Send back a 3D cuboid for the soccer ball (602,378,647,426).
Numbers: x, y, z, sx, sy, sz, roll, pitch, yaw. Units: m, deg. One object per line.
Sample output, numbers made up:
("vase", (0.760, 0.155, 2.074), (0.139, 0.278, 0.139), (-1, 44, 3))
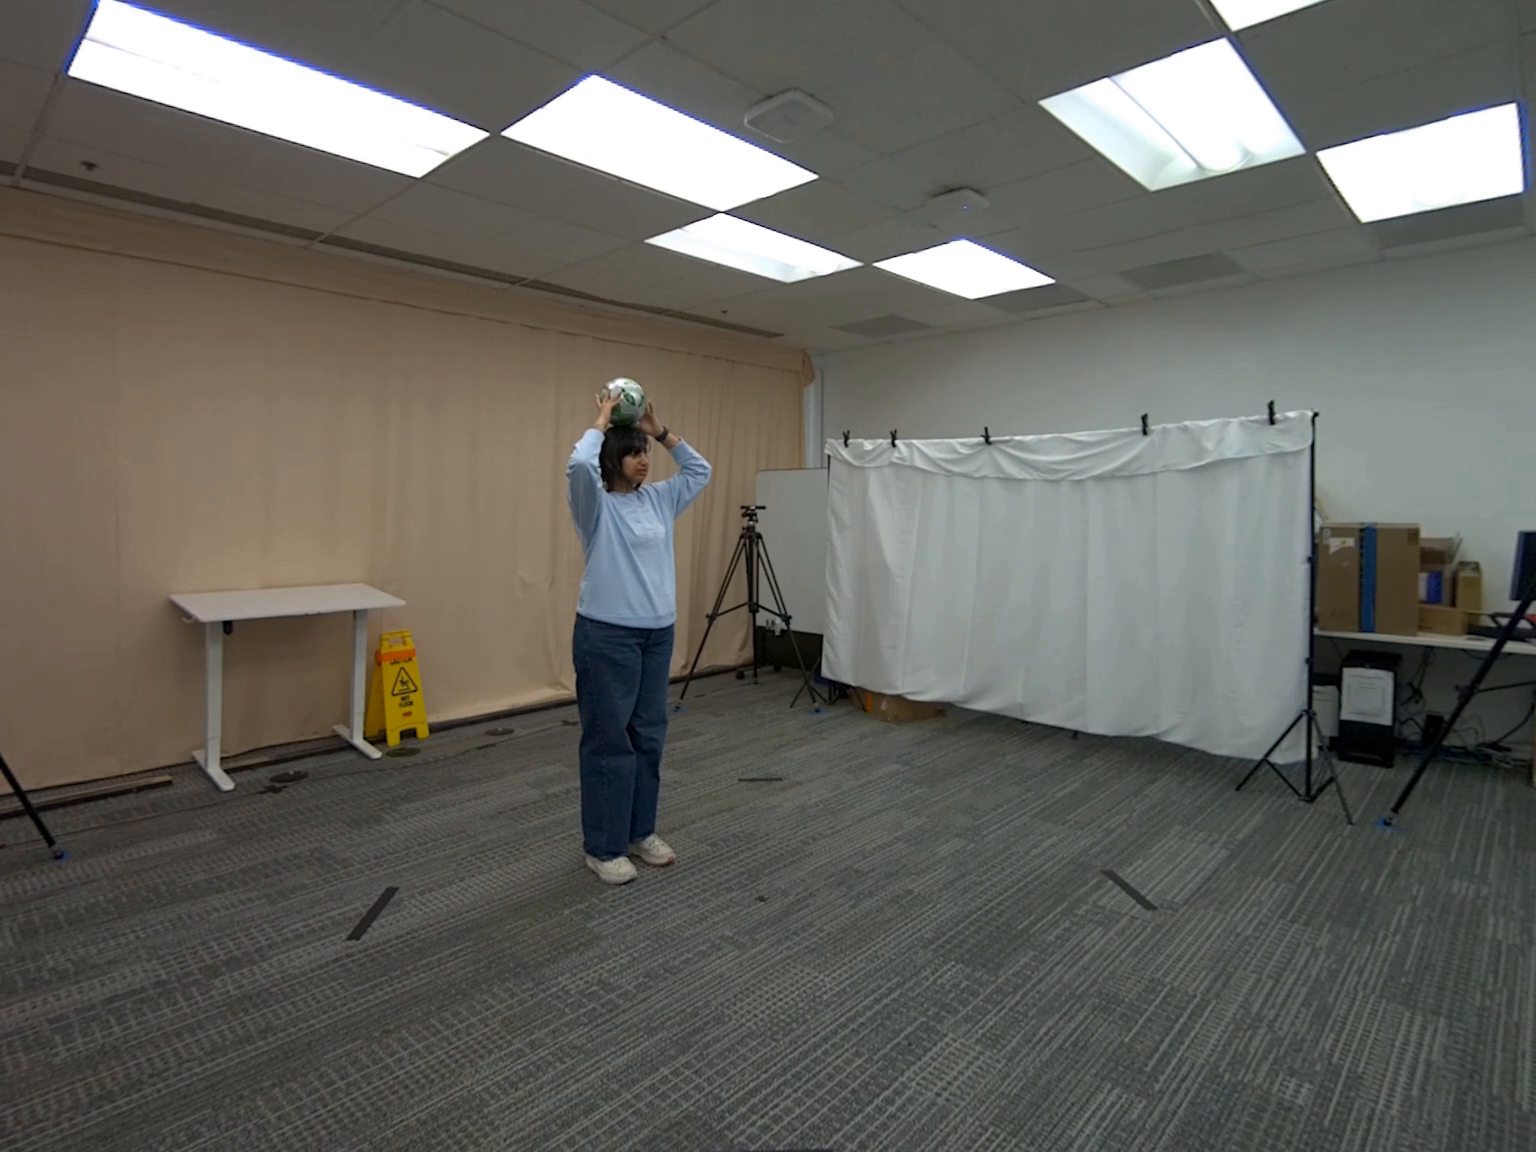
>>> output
("soccer ball", (-0.558, -0.662, 3.213), (0.187, 0.187, 0.188), (0, 4, -2))
